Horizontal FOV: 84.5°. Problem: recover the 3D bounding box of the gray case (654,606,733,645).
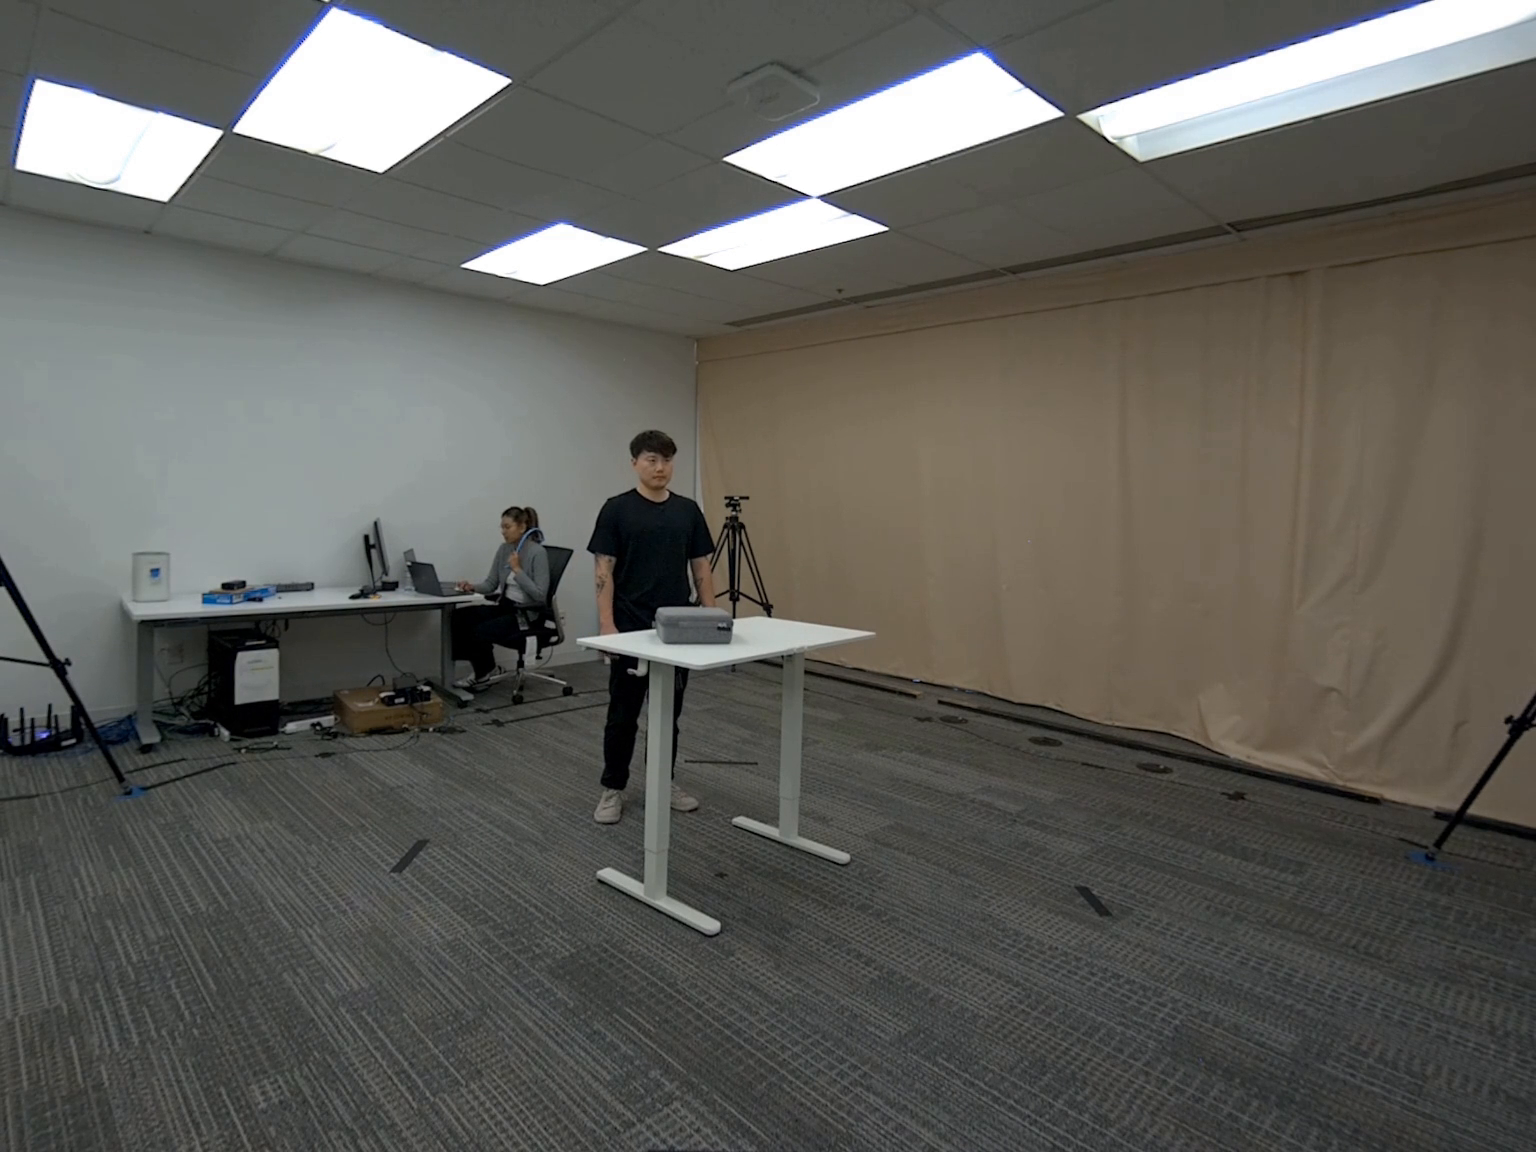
[{"bbox_3d":[-0.275,0.174,3.015,0.254,0.104,0.264,-1,4,-12],"label":"gray case"}]
